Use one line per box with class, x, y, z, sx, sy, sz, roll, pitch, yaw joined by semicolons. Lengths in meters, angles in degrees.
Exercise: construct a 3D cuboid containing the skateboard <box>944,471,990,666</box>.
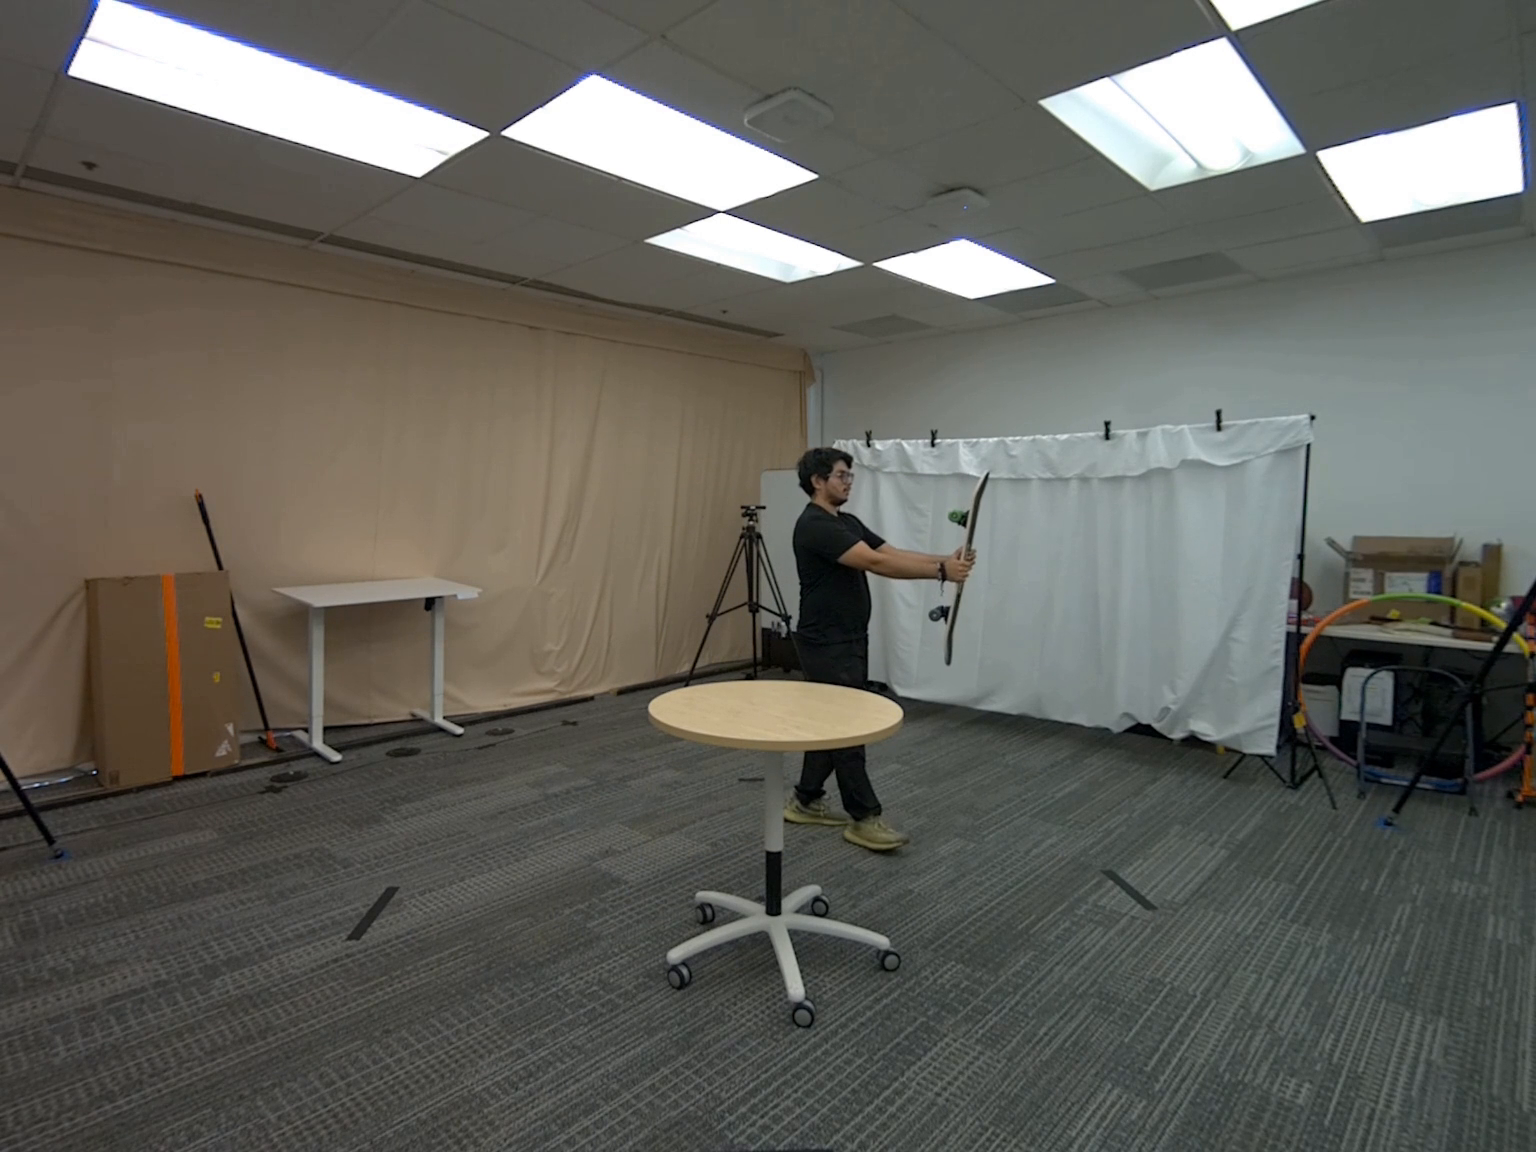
skateboard;0.762;-0.036;3.369;0.113;0.784;0.189;11;4;20
